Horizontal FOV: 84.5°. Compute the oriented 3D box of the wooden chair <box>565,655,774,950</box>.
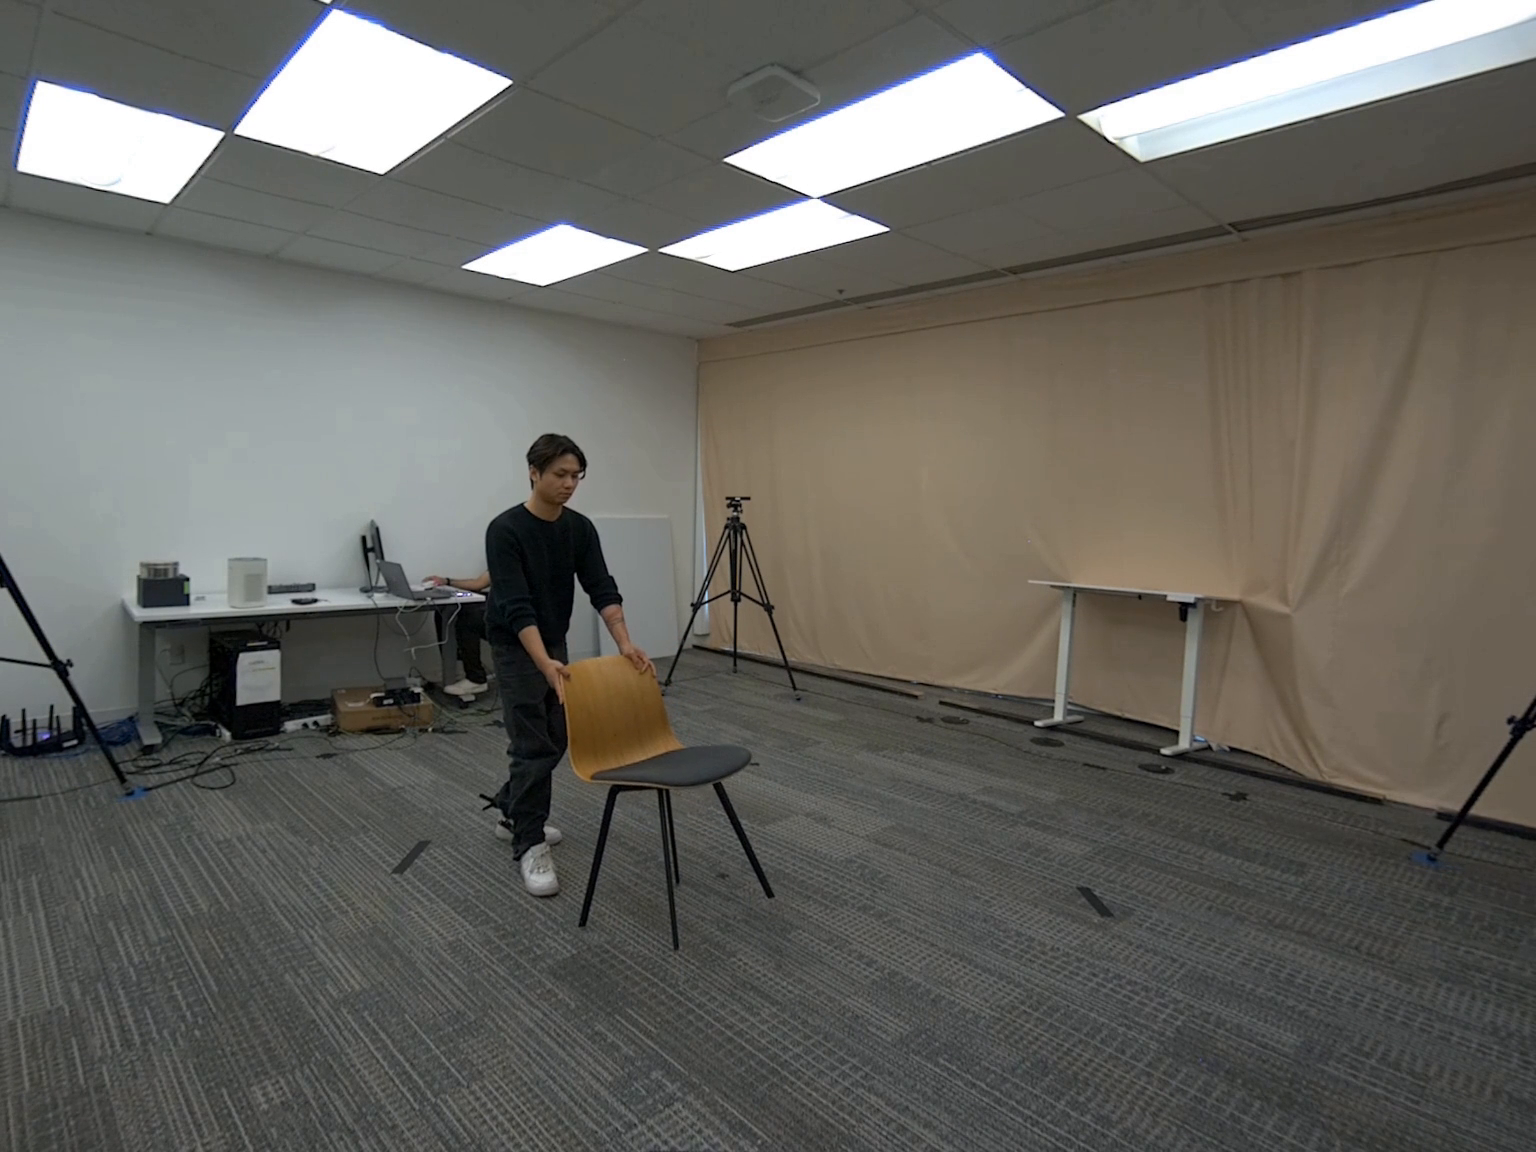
[{"bbox_3d":[-0.350,0.672,2.749,0.531,0.883,0.467,-17,-9,40],"label":"wooden chair"}]
